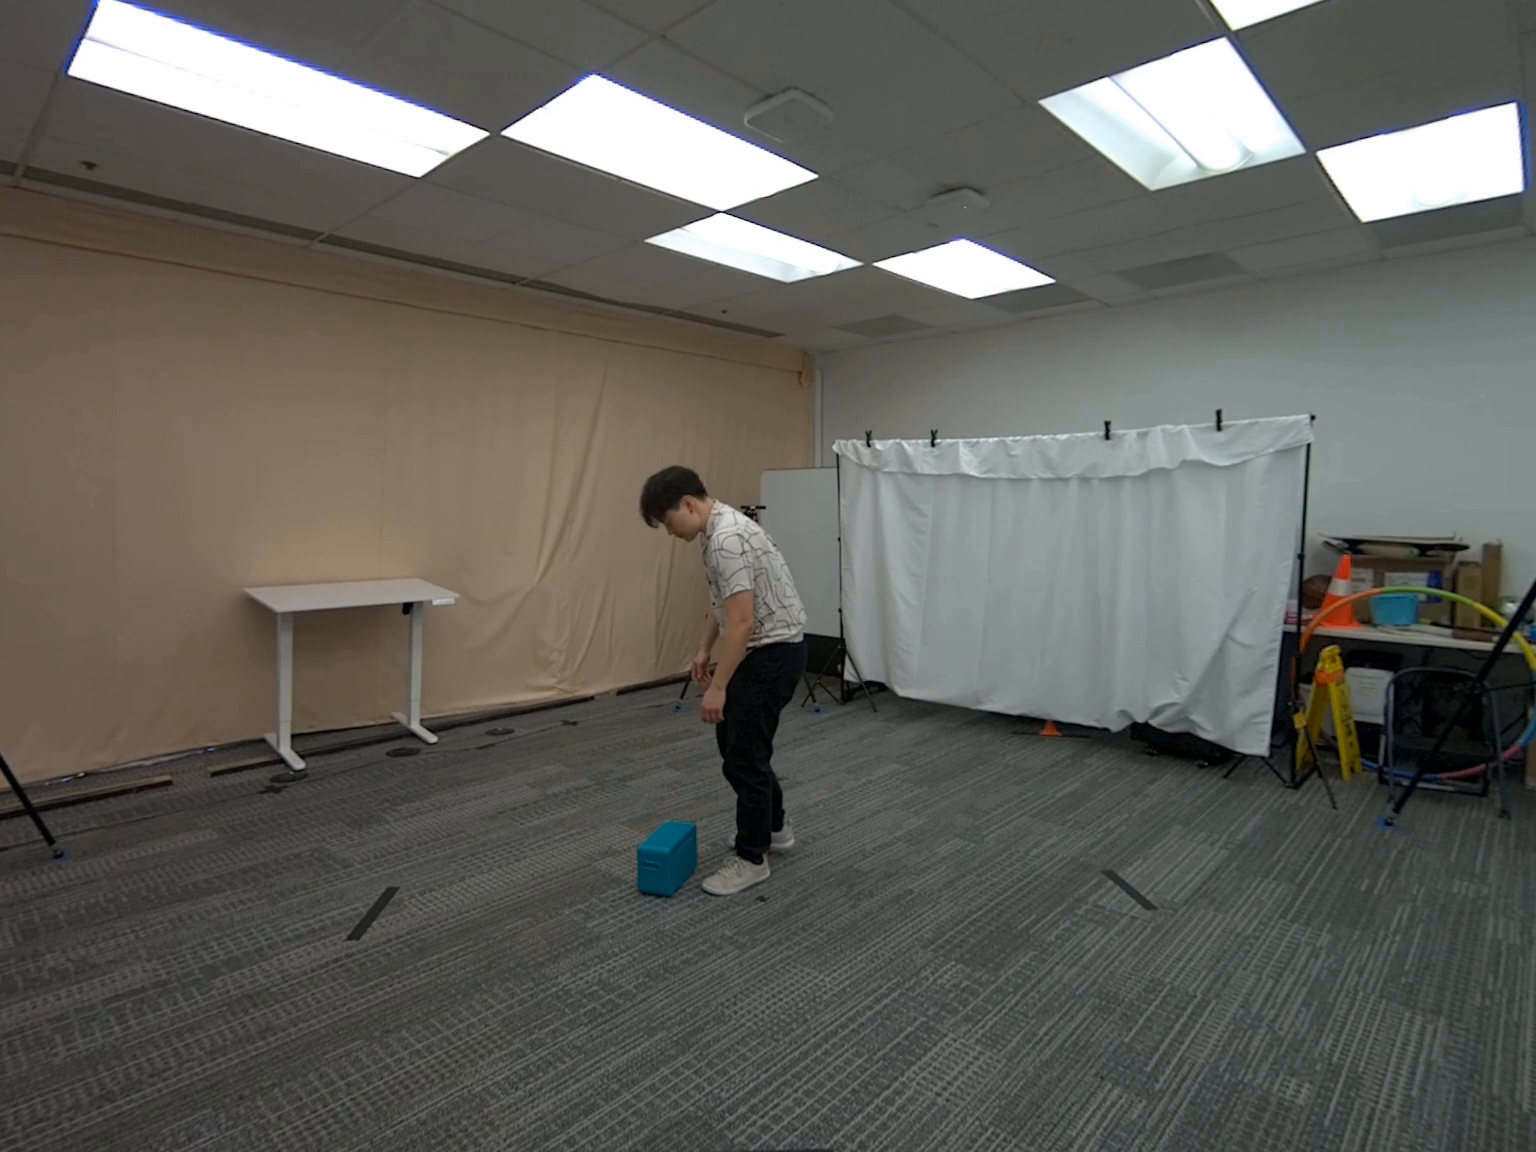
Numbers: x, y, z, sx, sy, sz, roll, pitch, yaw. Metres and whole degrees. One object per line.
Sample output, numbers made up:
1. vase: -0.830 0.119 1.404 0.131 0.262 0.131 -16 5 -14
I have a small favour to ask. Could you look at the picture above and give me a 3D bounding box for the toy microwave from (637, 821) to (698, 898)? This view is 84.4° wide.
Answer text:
1. toy microwave: -0.375 1.042 3.124 0.155 0.184 0.281 1 4 18
